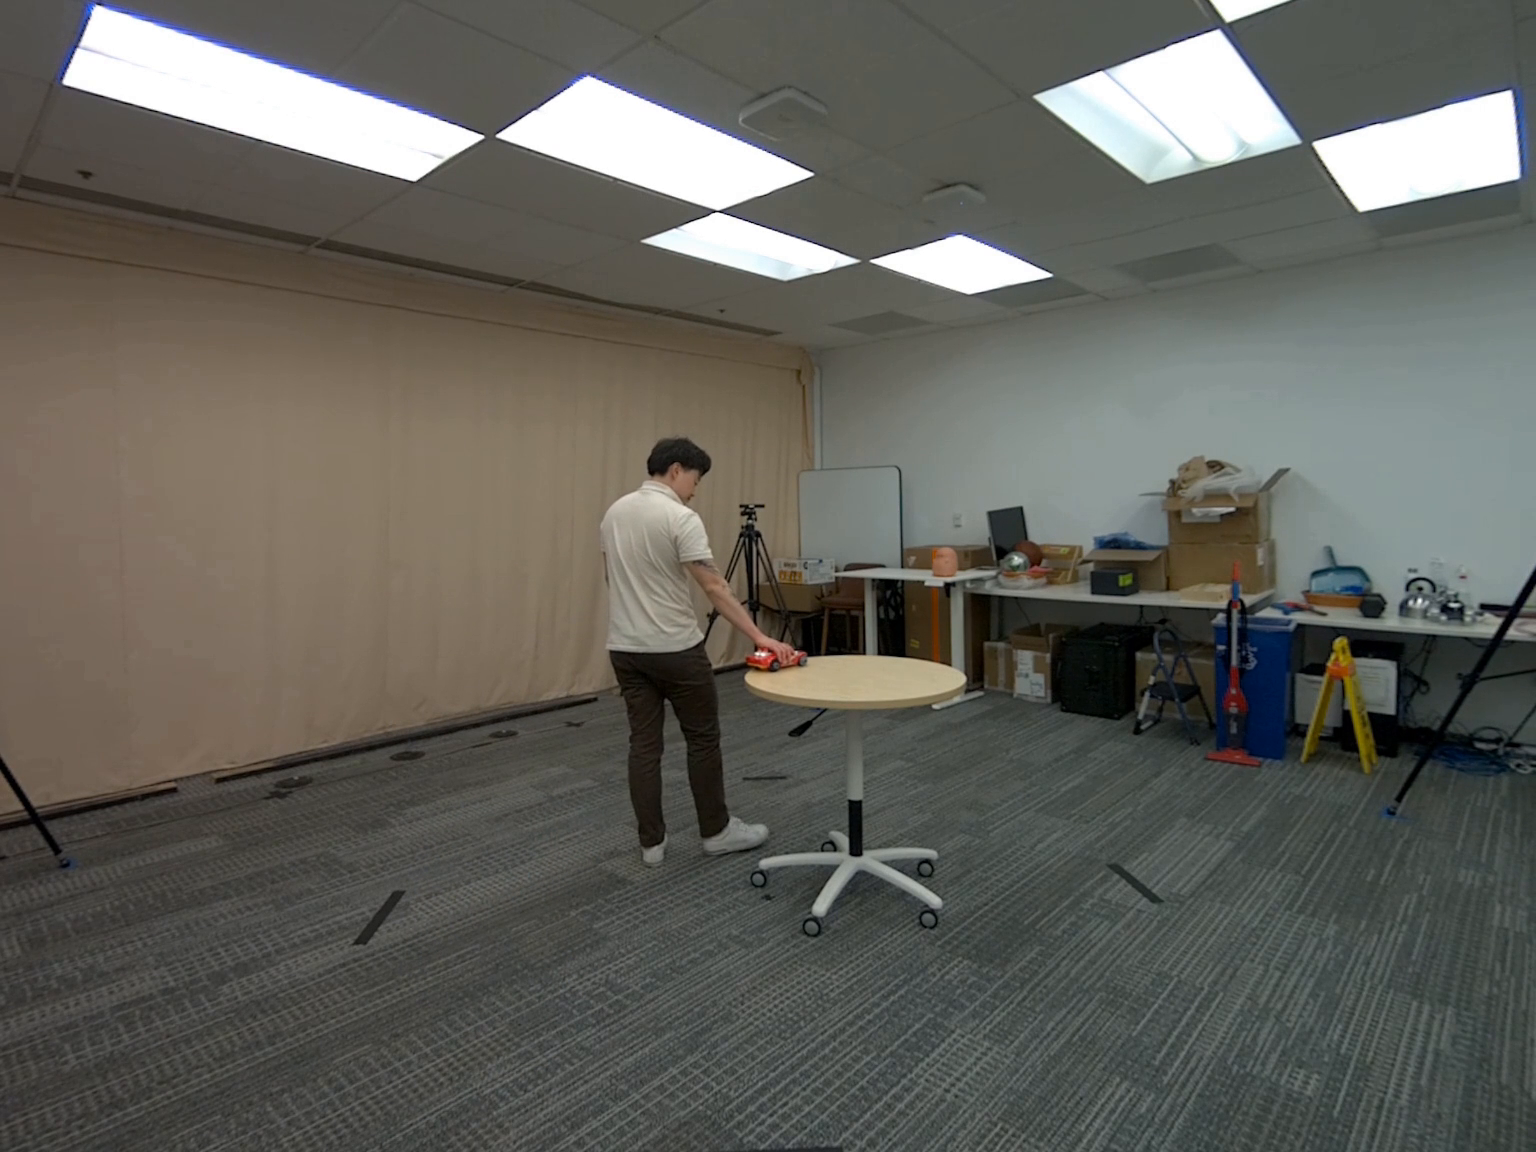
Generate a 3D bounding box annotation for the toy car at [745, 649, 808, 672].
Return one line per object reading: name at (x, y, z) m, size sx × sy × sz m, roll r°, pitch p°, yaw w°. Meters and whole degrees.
toy car at (0.034, 0.314, 3.134) m, size 0.246 × 0.083 × 0.134 m, roll 9°, pitch -3°, yaw -40°
